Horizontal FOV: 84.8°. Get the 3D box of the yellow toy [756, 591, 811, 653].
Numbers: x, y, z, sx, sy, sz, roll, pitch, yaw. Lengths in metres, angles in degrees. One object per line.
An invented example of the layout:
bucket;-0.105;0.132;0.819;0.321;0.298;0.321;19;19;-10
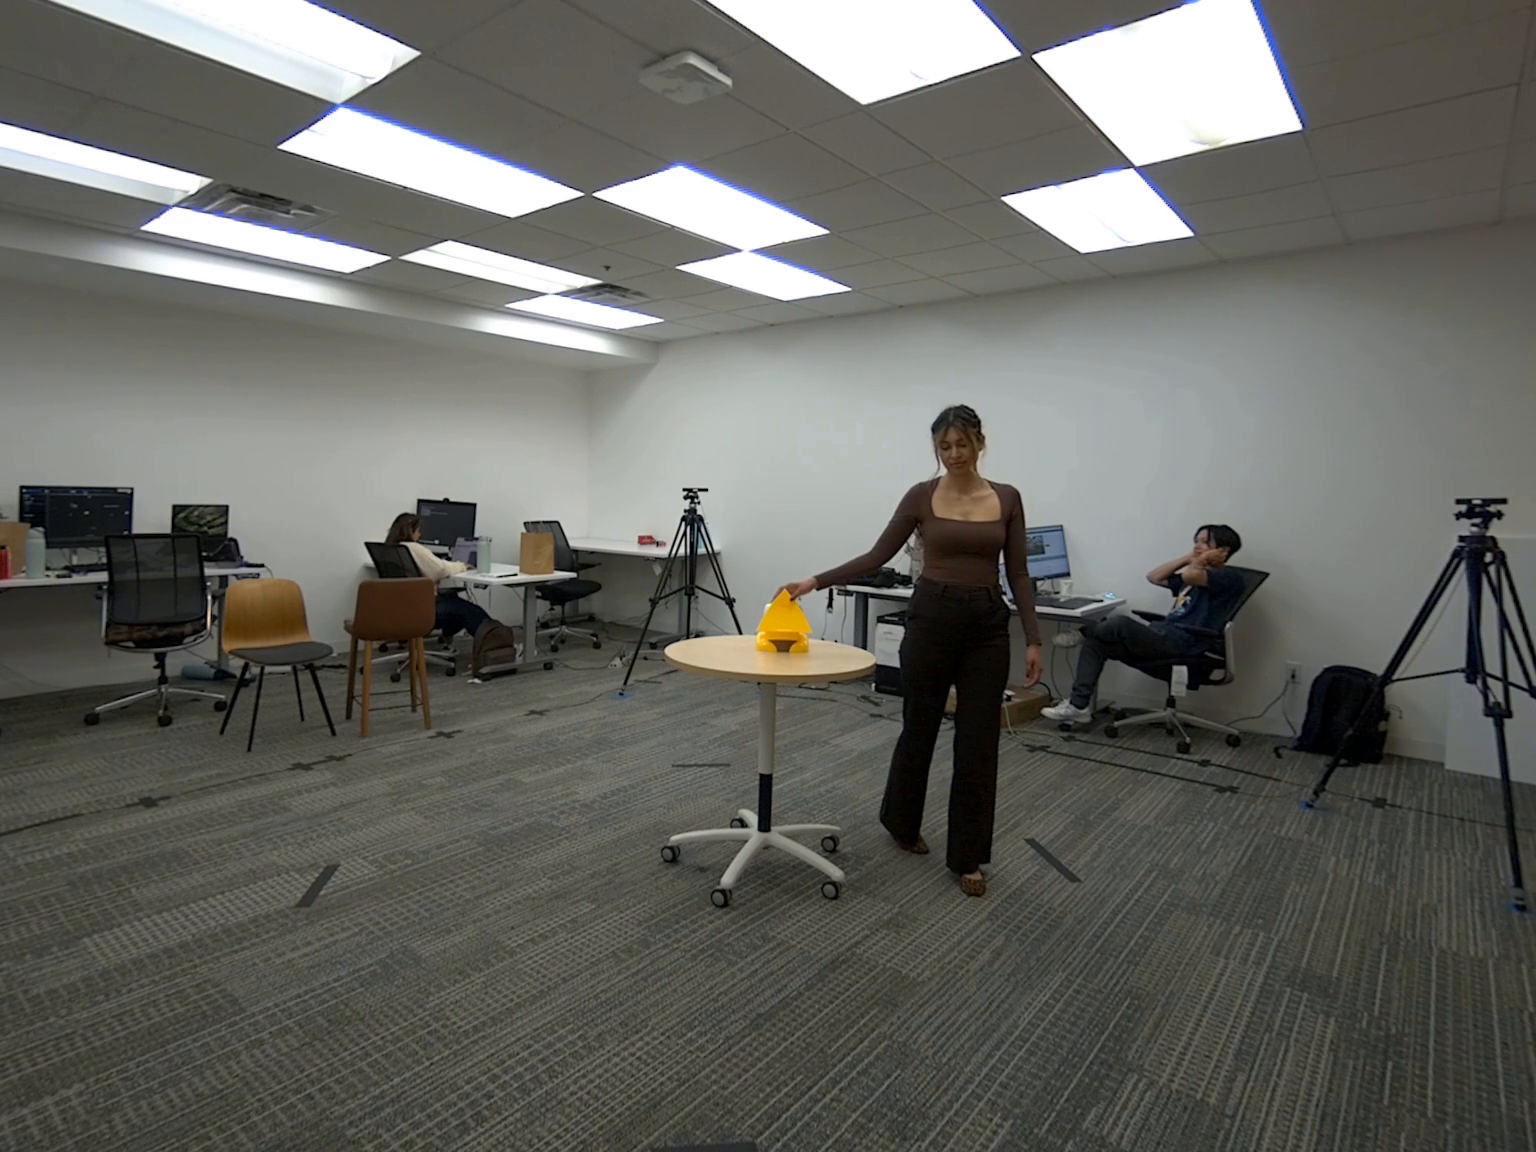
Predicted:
yellow toy;0.048;0.154;3.192;0.205;0.230;0.194;1;5;-1
